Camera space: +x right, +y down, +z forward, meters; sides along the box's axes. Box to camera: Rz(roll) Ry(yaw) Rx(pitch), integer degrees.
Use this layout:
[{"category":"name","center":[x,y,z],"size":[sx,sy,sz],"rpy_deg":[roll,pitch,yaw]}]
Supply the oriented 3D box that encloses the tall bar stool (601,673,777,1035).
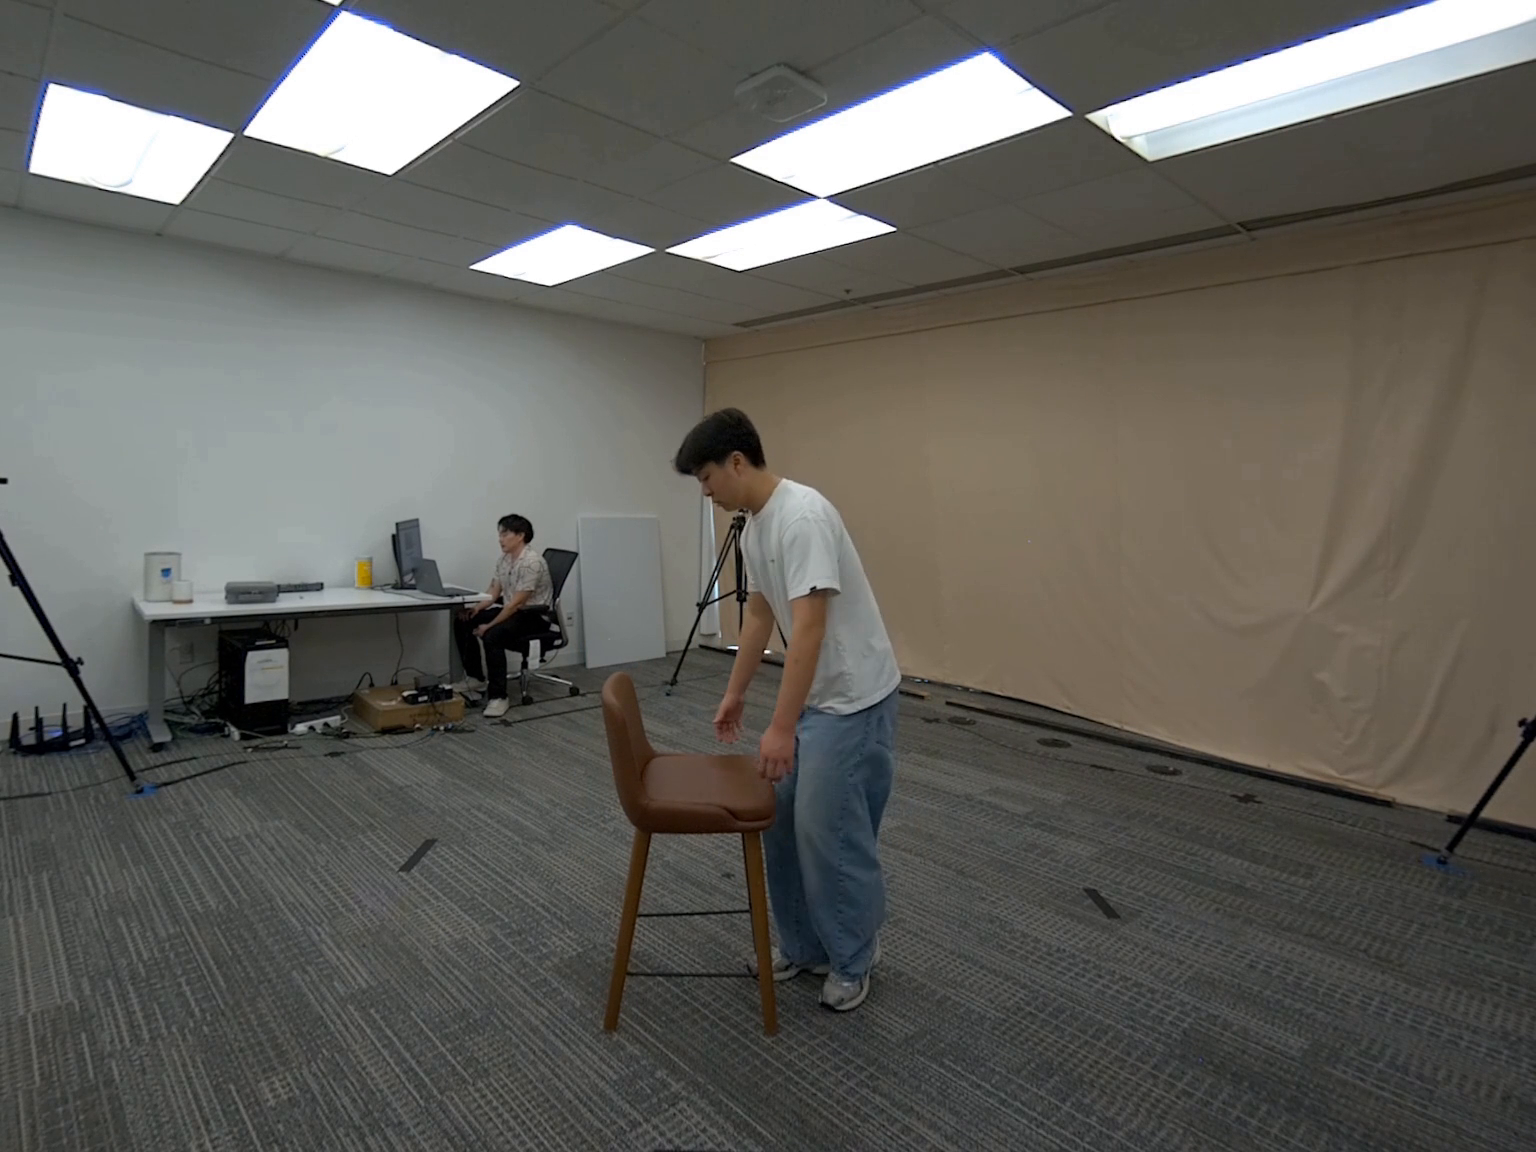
[{"category":"tall bar stool","center":[-0.222,0.738,2.352],"size":[0.466,0.887,0.459],"rpy_deg":[-1,4,-5]}]
